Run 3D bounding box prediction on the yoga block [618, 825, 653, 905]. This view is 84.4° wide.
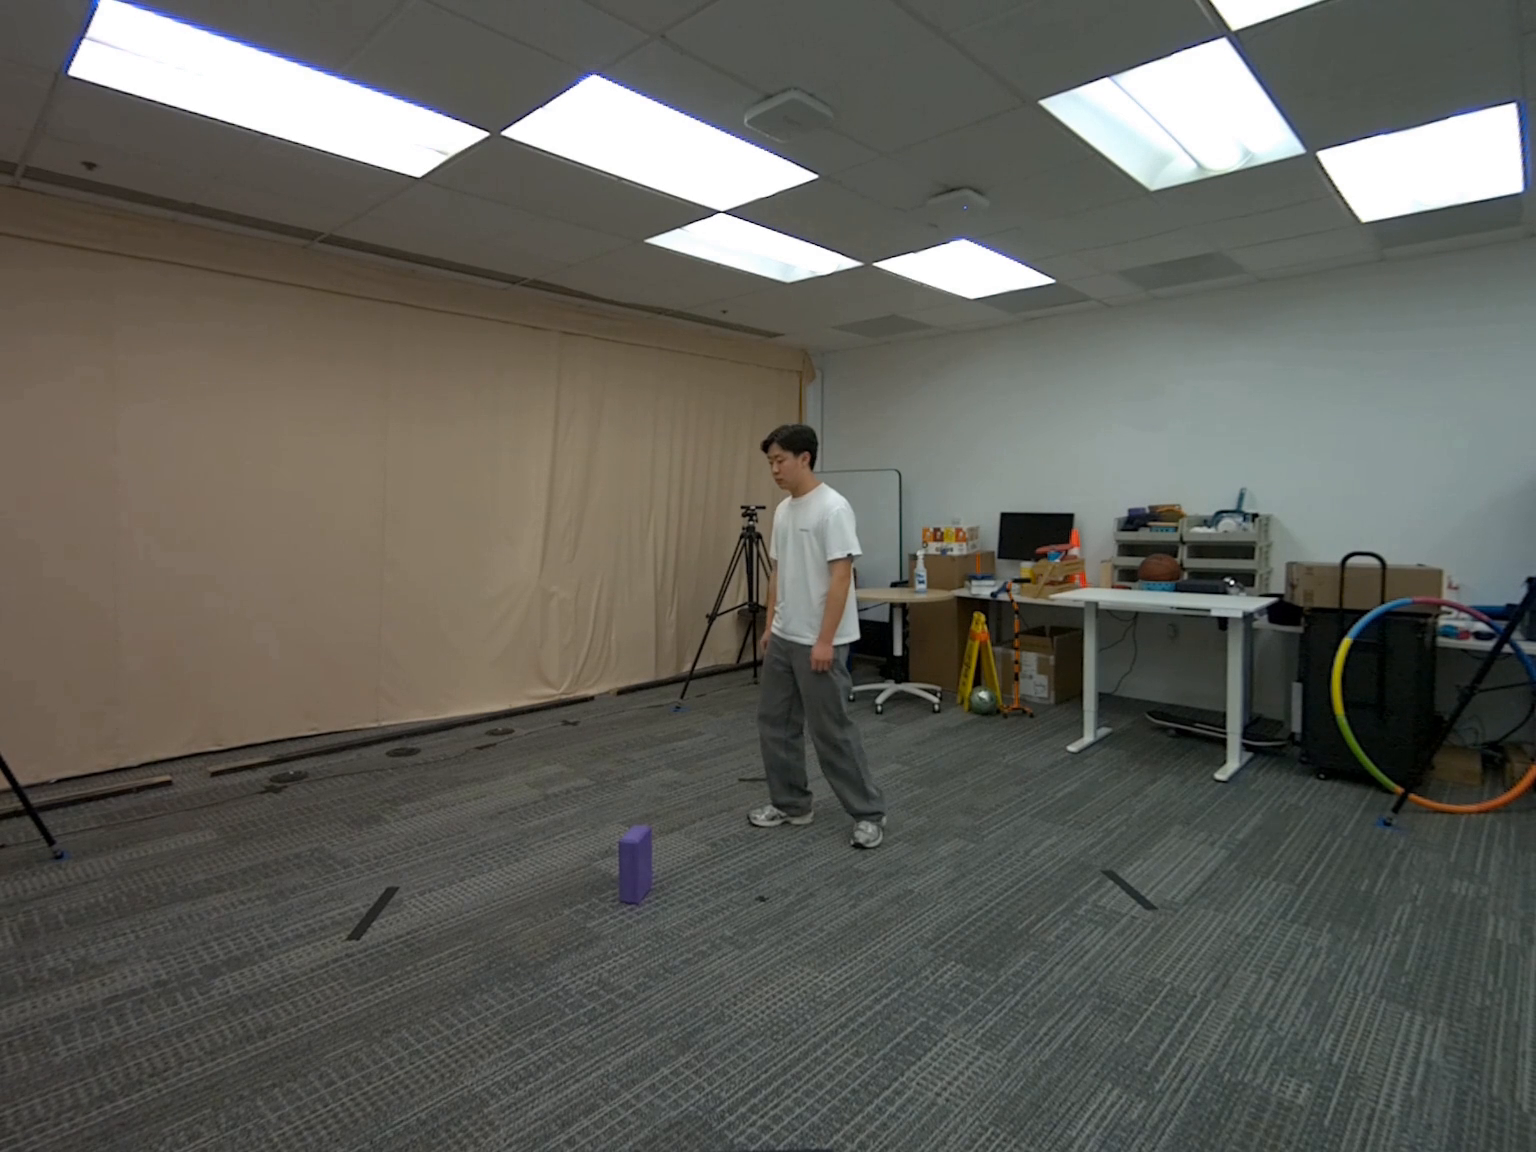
[{"bbox_3d":[-0.469,1.031,3.007,0.078,0.229,0.147,0,3,14],"label":"yoga block"}]
